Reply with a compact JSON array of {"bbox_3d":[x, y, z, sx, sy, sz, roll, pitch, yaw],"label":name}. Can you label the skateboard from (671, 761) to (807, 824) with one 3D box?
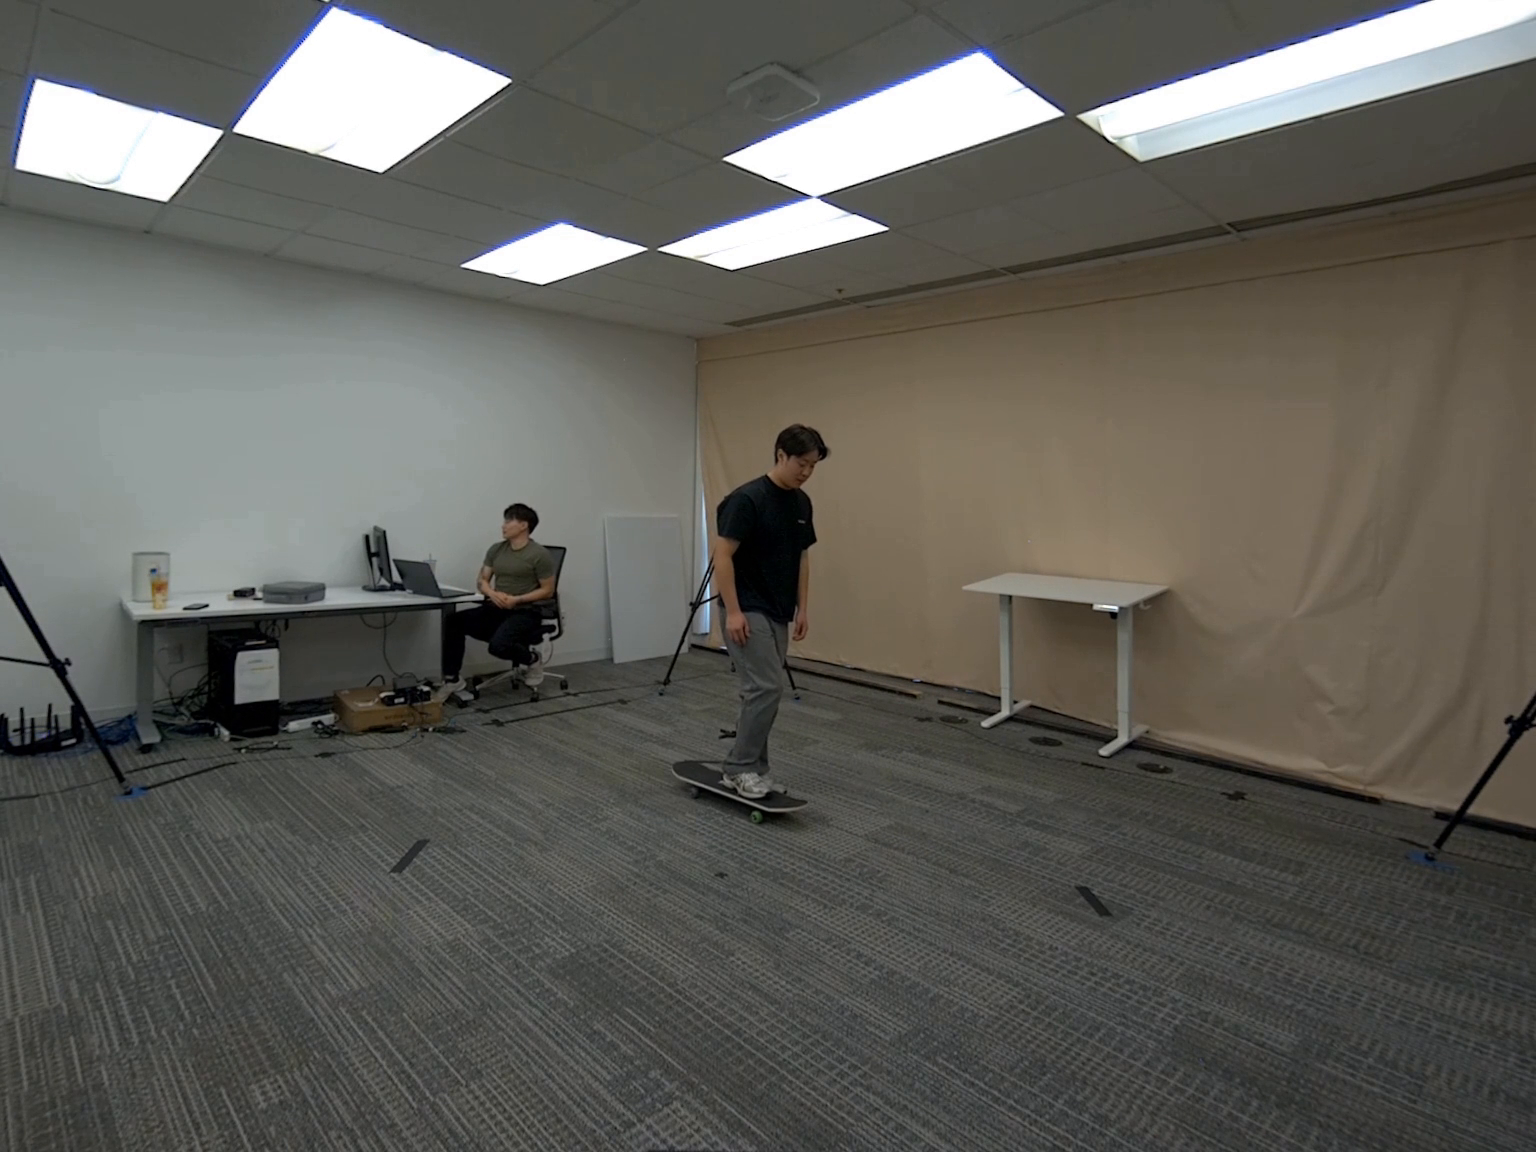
[{"bbox_3d":[-0.150,0.991,3.802,0.805,0.110,0.189,4,6,42],"label":"skateboard"}]
